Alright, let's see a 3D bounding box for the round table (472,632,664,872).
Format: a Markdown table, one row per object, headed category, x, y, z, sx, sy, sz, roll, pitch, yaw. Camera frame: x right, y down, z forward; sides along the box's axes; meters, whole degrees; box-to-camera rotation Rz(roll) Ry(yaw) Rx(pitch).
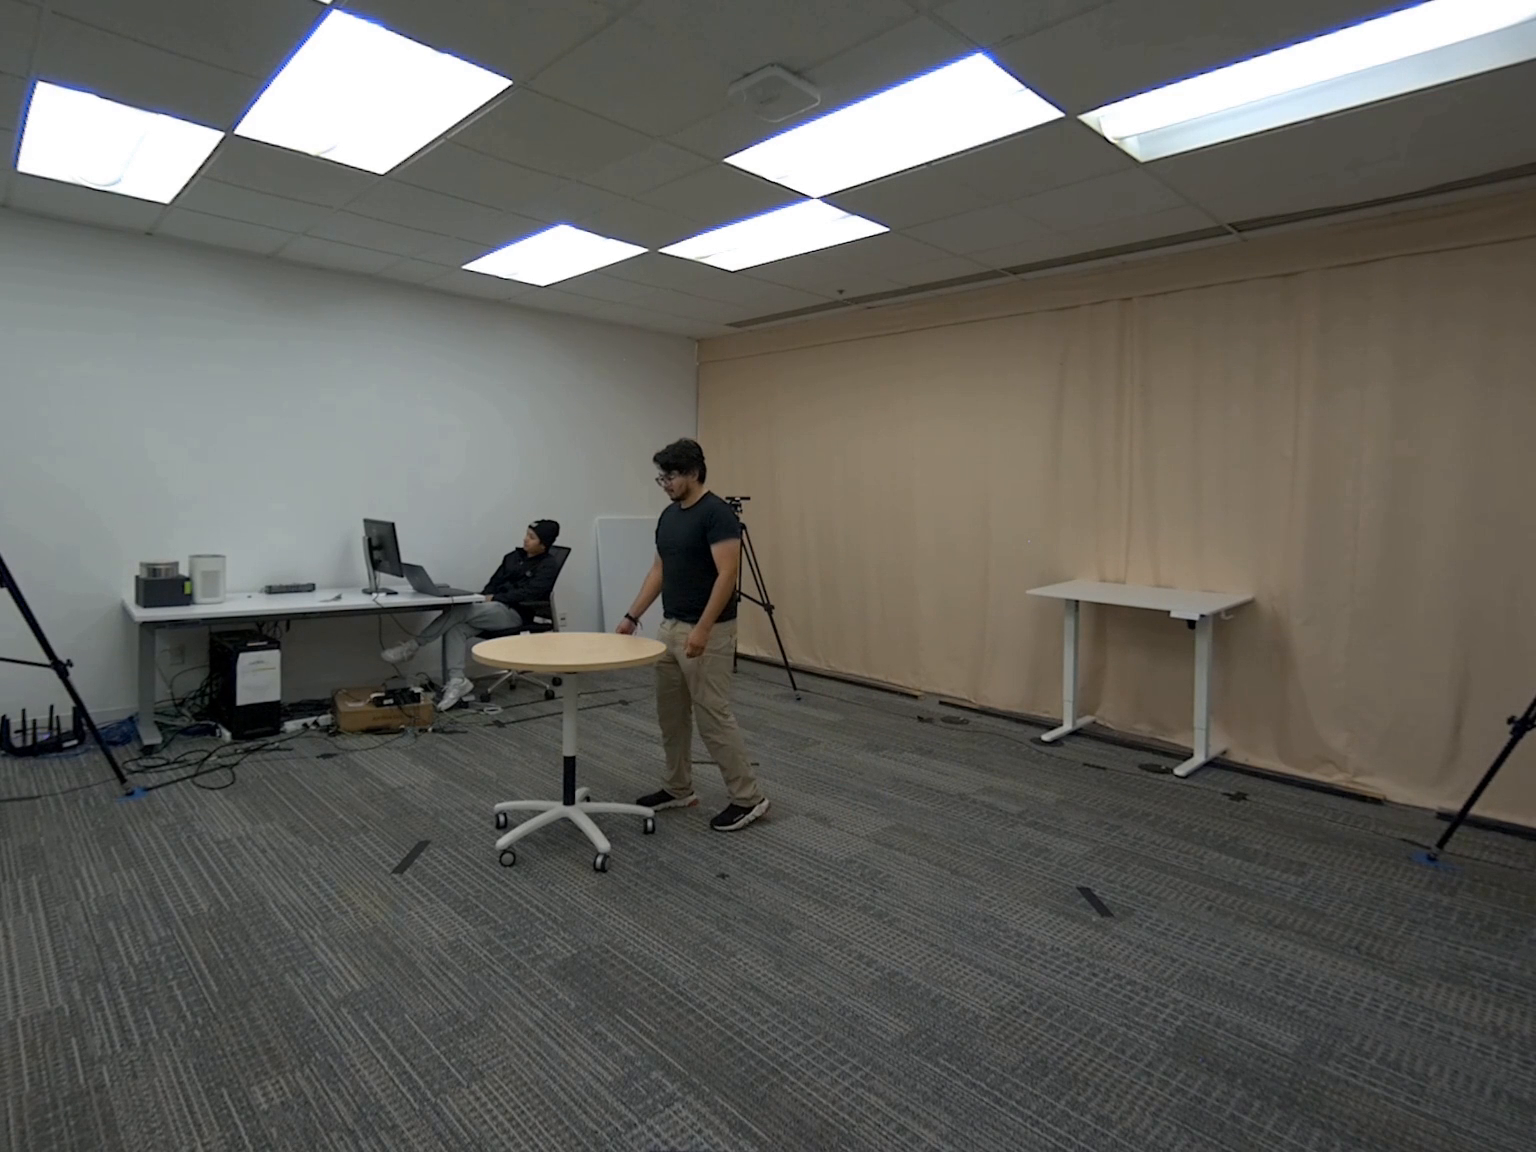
| category | x | y | z | sx | sy | sz | roll | pitch | yaw |
| --- | --- | --- | --- | --- | --- | --- | --- | --- | --- |
| round table | -0.816 | 0.671 | 3.401 | 0.784 | 0.784 | 0.787 | 1 | 4 | -1 |
